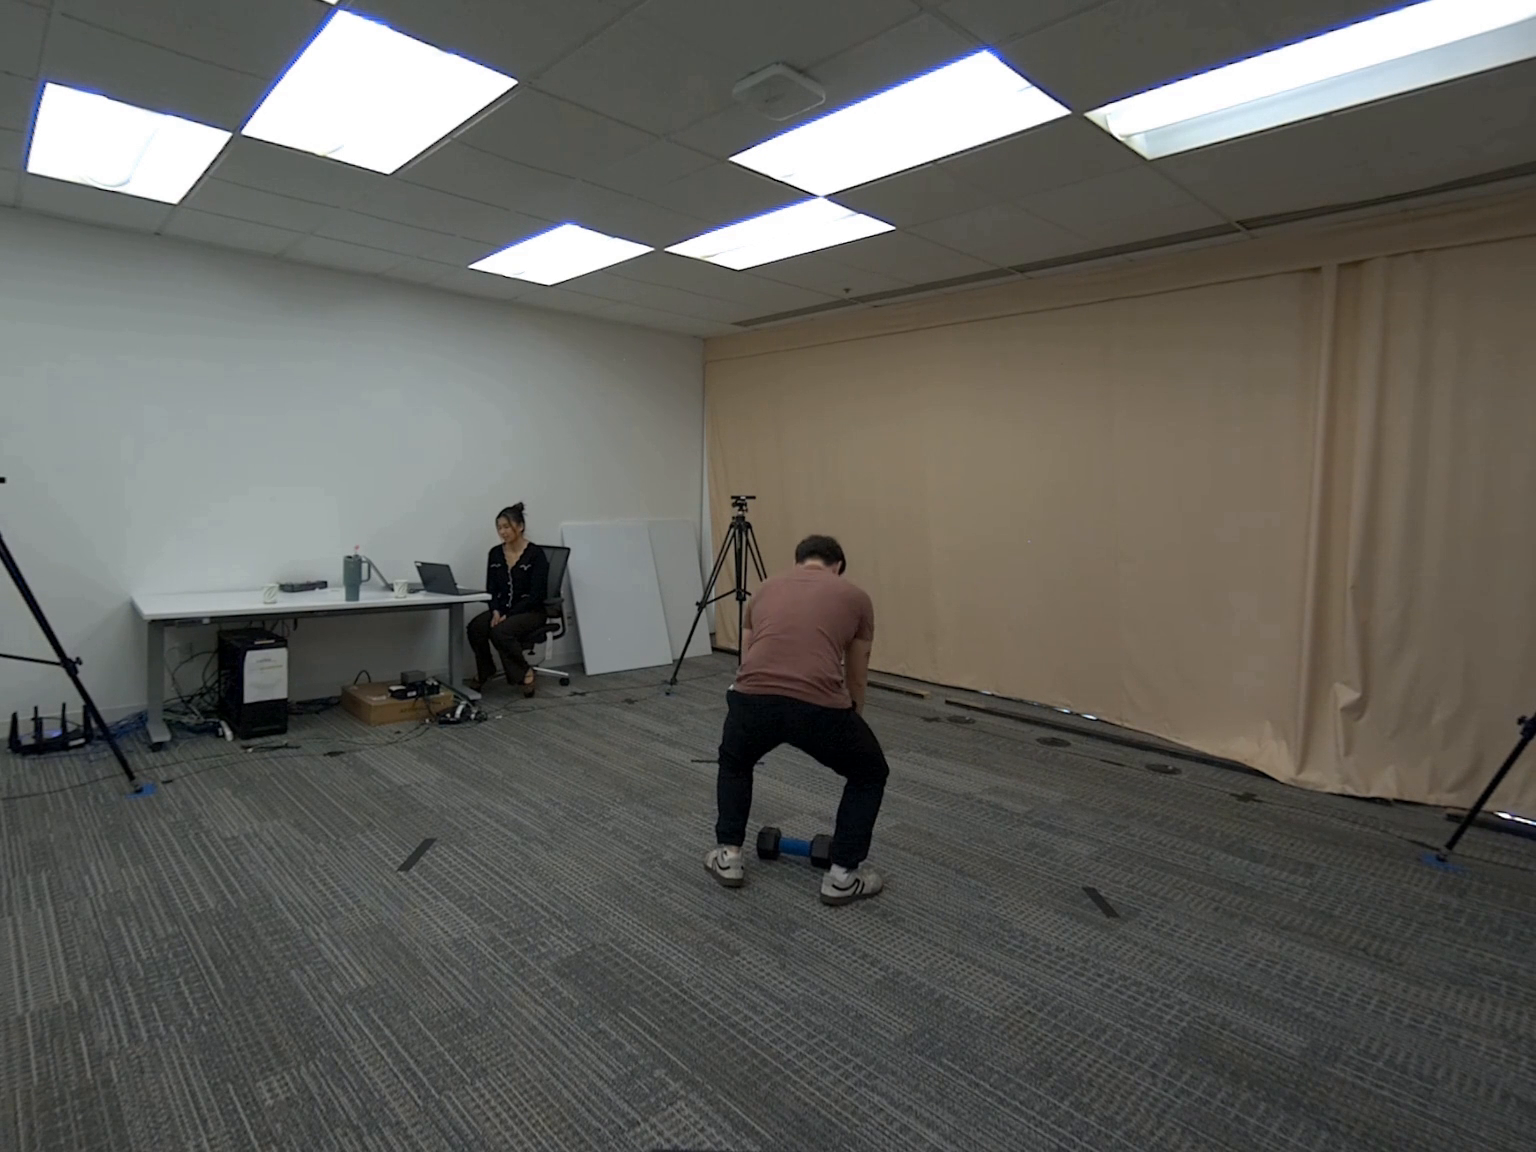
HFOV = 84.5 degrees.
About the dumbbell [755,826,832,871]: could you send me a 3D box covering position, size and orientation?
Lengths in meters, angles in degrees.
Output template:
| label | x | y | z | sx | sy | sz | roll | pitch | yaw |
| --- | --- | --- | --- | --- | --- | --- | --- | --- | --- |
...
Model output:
| label | x | y | z | sx | sy | sz | roll | pitch | yaw |
| --- | --- | --- | --- | --- | --- | --- | --- | --- | --- |
| dumbbell | 0.101 | 1.040 | 3.232 | 0.298 | 0.120 | 0.110 | 2 | 37 | 18 |
